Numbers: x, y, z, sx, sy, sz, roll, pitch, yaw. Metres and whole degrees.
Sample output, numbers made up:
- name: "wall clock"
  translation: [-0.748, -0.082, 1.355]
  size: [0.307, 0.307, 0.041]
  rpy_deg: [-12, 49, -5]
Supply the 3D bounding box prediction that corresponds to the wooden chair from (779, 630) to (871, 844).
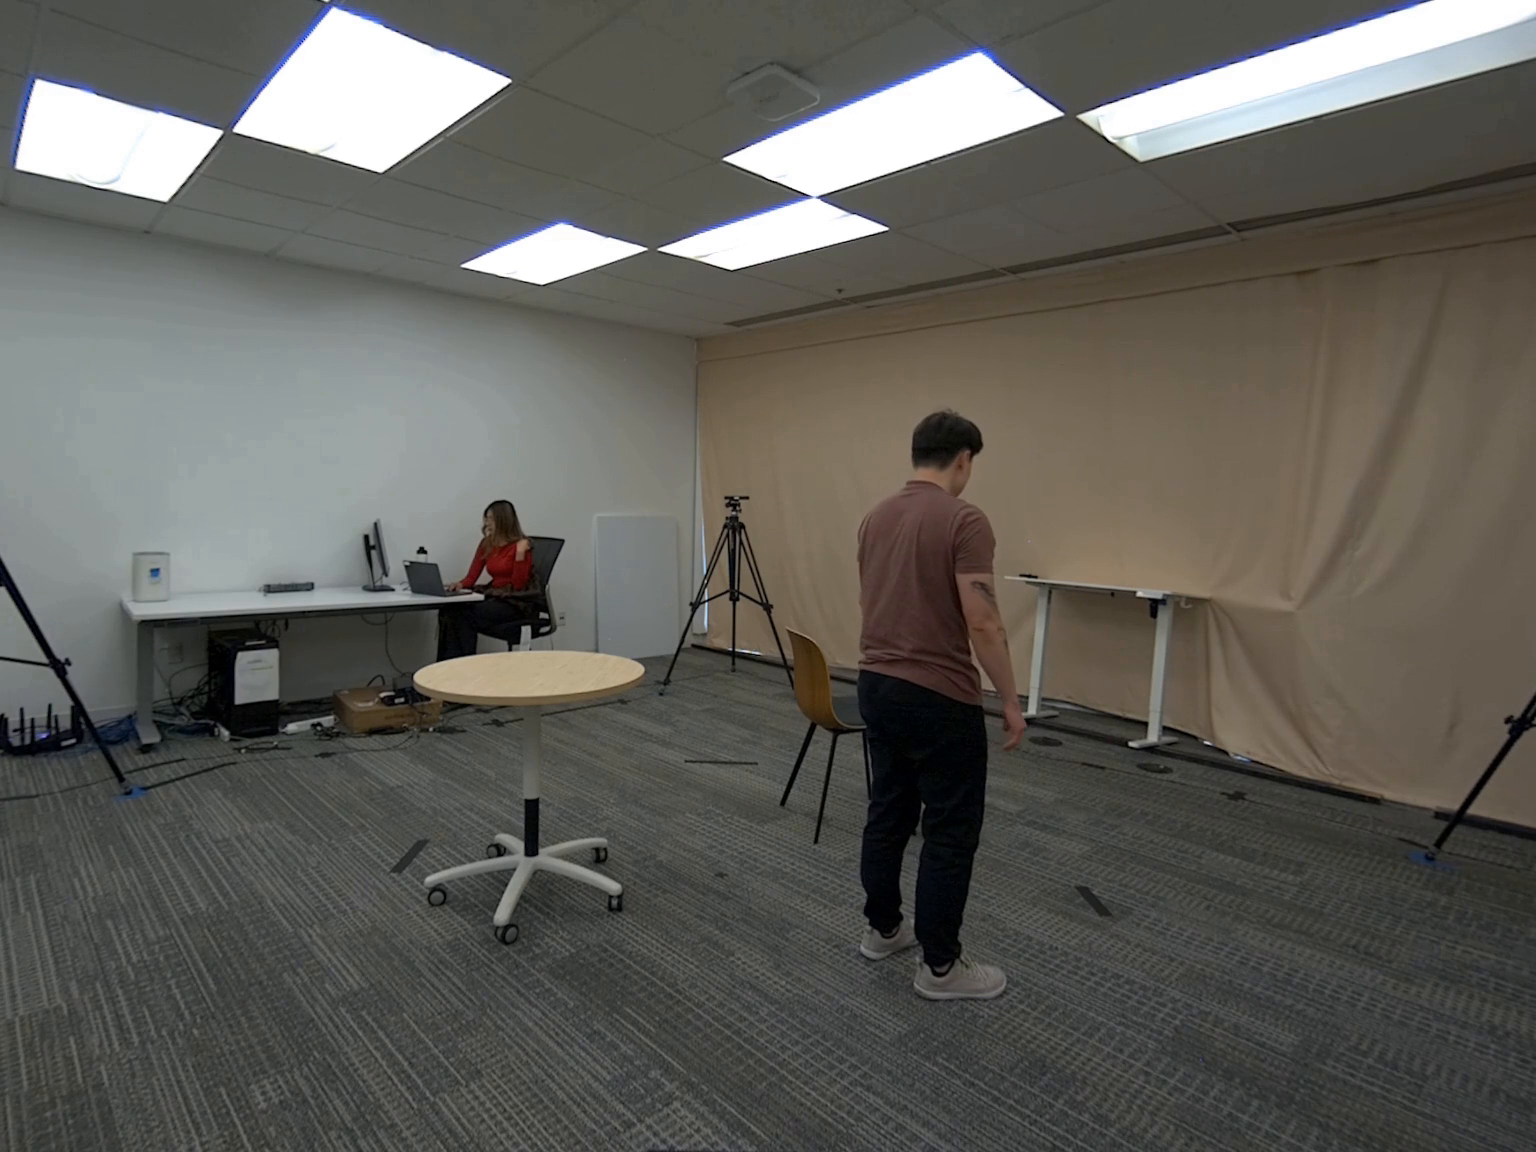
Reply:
- name: "wooden chair"
  translation: [0.347, 0.640, 3.655]
  size: [0.517, 0.874, 0.485]
  rpy_deg: [-3, 5, -17]
